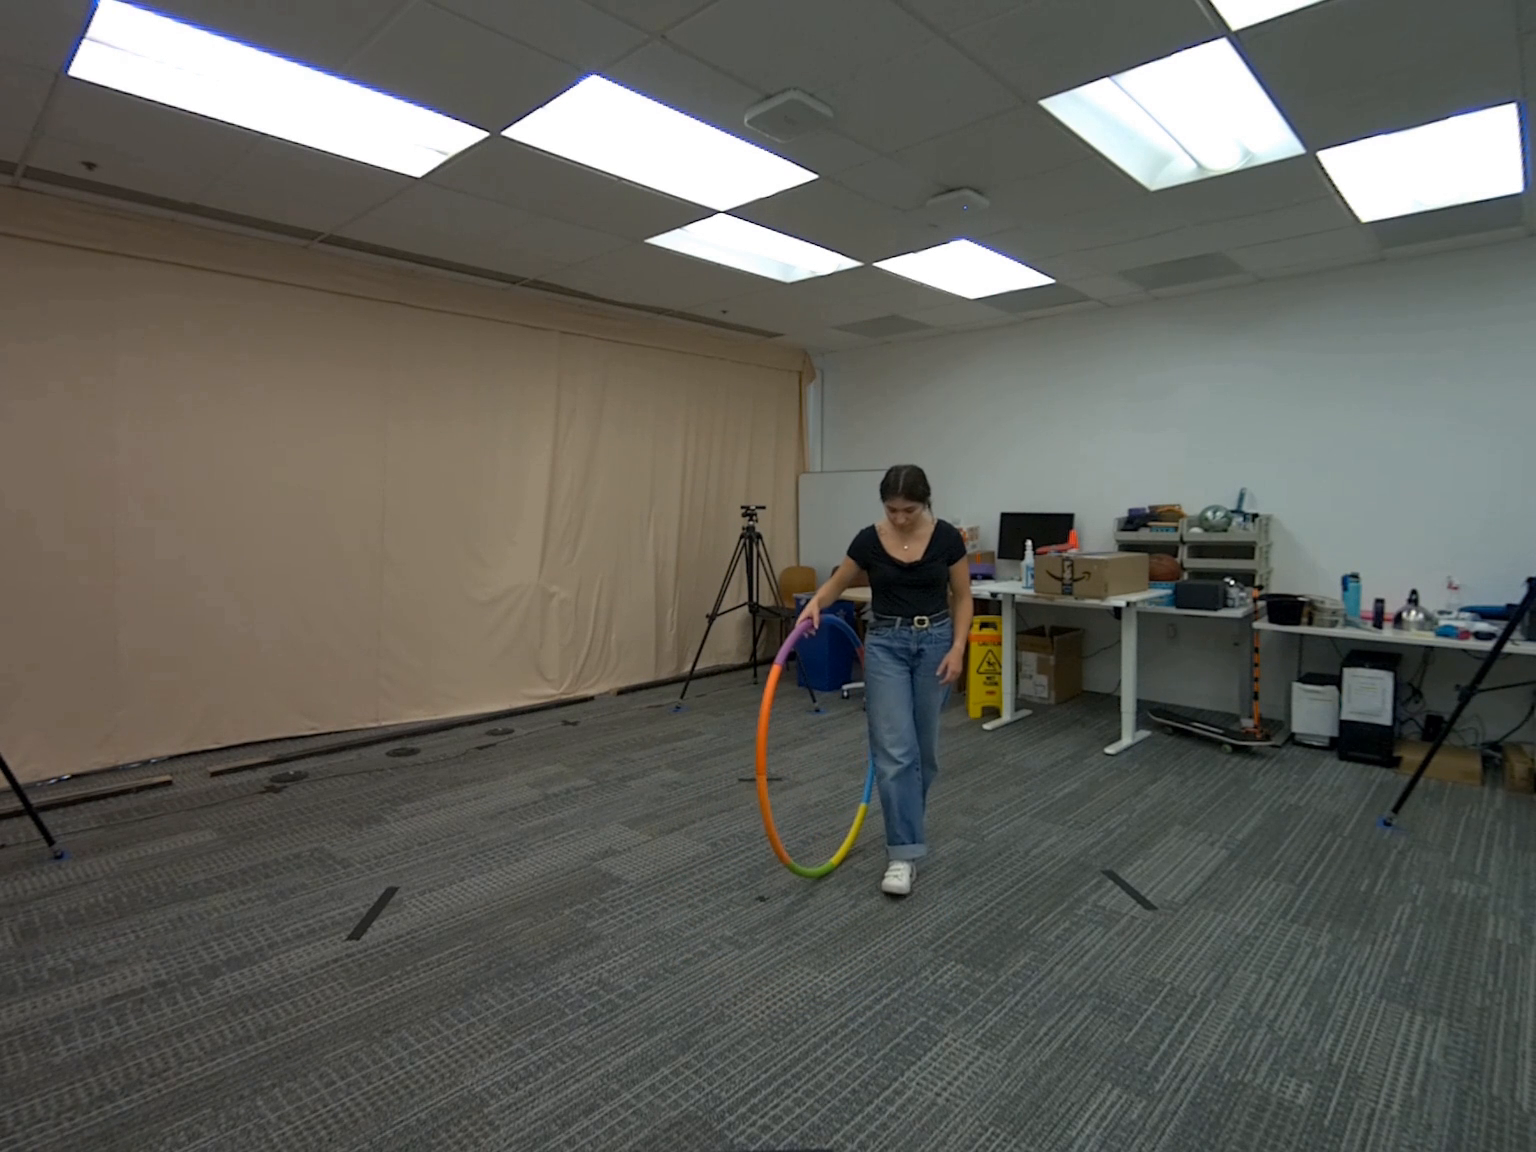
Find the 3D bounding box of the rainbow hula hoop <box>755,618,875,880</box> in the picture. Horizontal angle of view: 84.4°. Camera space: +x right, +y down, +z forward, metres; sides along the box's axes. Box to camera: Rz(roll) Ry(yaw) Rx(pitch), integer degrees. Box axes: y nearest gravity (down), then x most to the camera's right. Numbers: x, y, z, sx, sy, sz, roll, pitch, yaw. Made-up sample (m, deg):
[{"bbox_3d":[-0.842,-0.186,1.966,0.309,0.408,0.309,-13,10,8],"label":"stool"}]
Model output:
[{"bbox_3d":[0.220,0.637,3.209,0.036,0.978,0.952,-2,2,31],"label":"rainbow hula hoop"}]
